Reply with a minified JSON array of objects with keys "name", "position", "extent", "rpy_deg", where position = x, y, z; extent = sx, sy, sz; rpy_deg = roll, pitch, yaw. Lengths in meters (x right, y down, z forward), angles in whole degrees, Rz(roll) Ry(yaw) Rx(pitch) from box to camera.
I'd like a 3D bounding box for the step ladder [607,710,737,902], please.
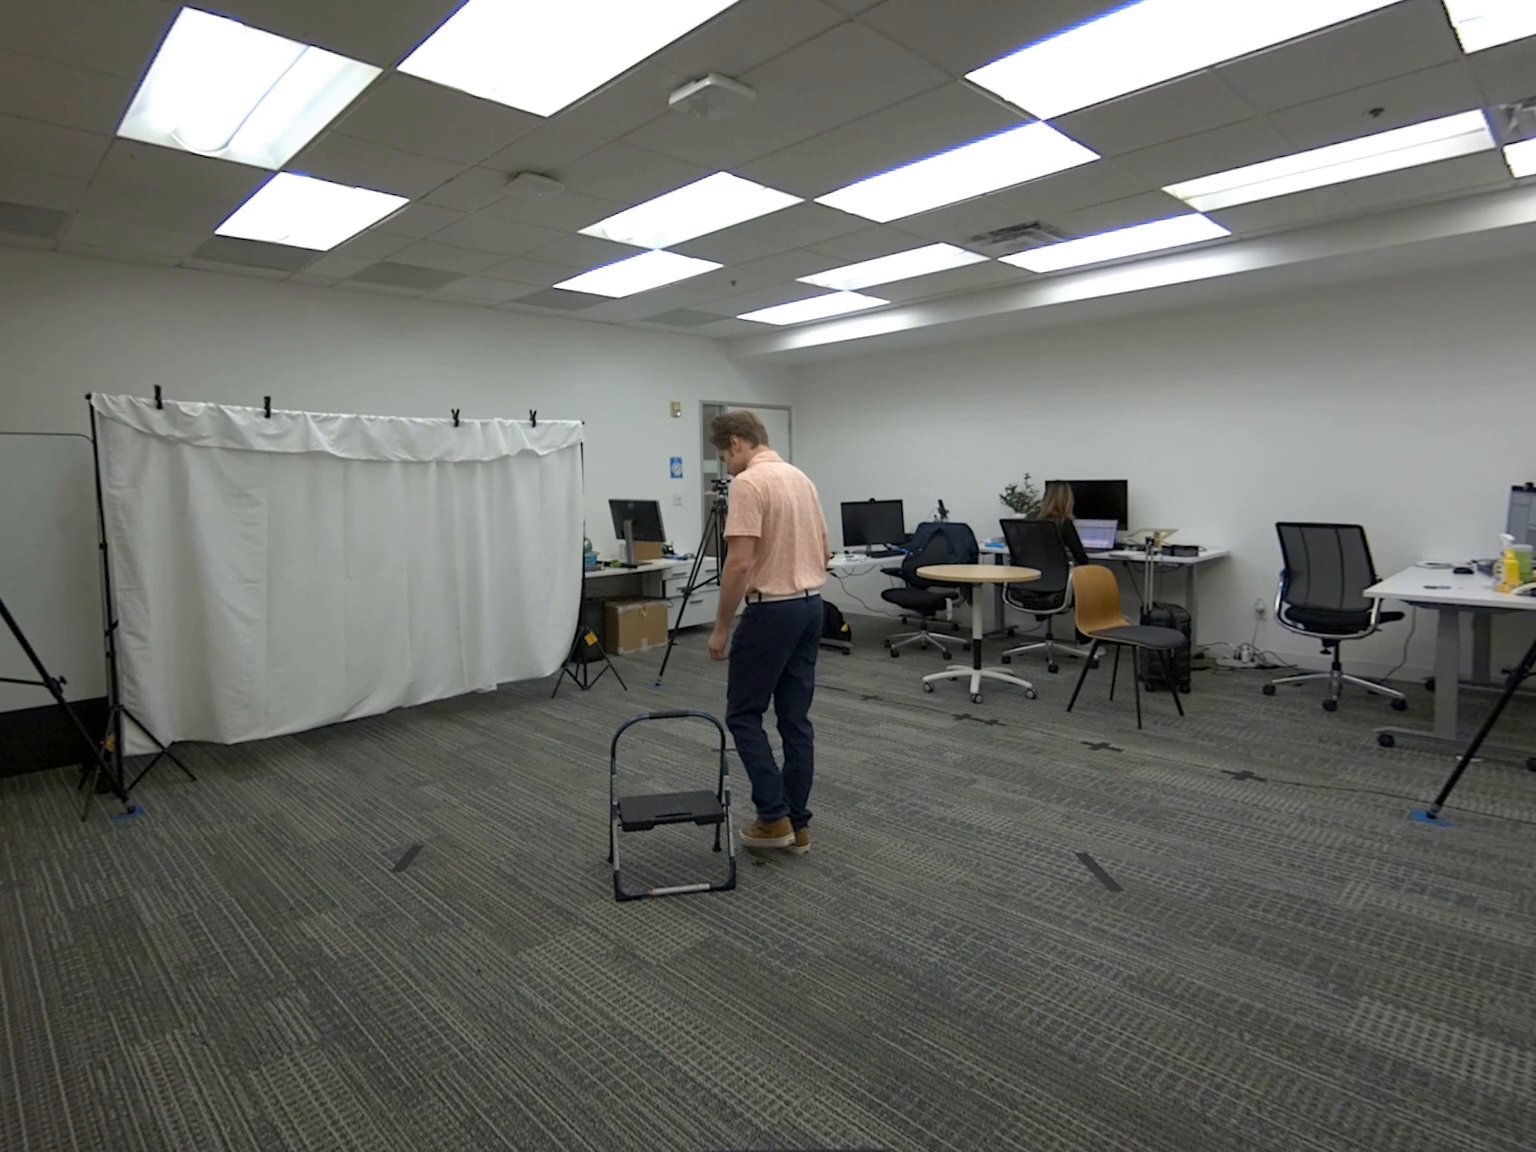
[{"name":"step ladder","position":[-0.354,0.760,3.023],"extent":[0.426,0.604,0.355],"rpy_deg":[-2,4,-13]}]
